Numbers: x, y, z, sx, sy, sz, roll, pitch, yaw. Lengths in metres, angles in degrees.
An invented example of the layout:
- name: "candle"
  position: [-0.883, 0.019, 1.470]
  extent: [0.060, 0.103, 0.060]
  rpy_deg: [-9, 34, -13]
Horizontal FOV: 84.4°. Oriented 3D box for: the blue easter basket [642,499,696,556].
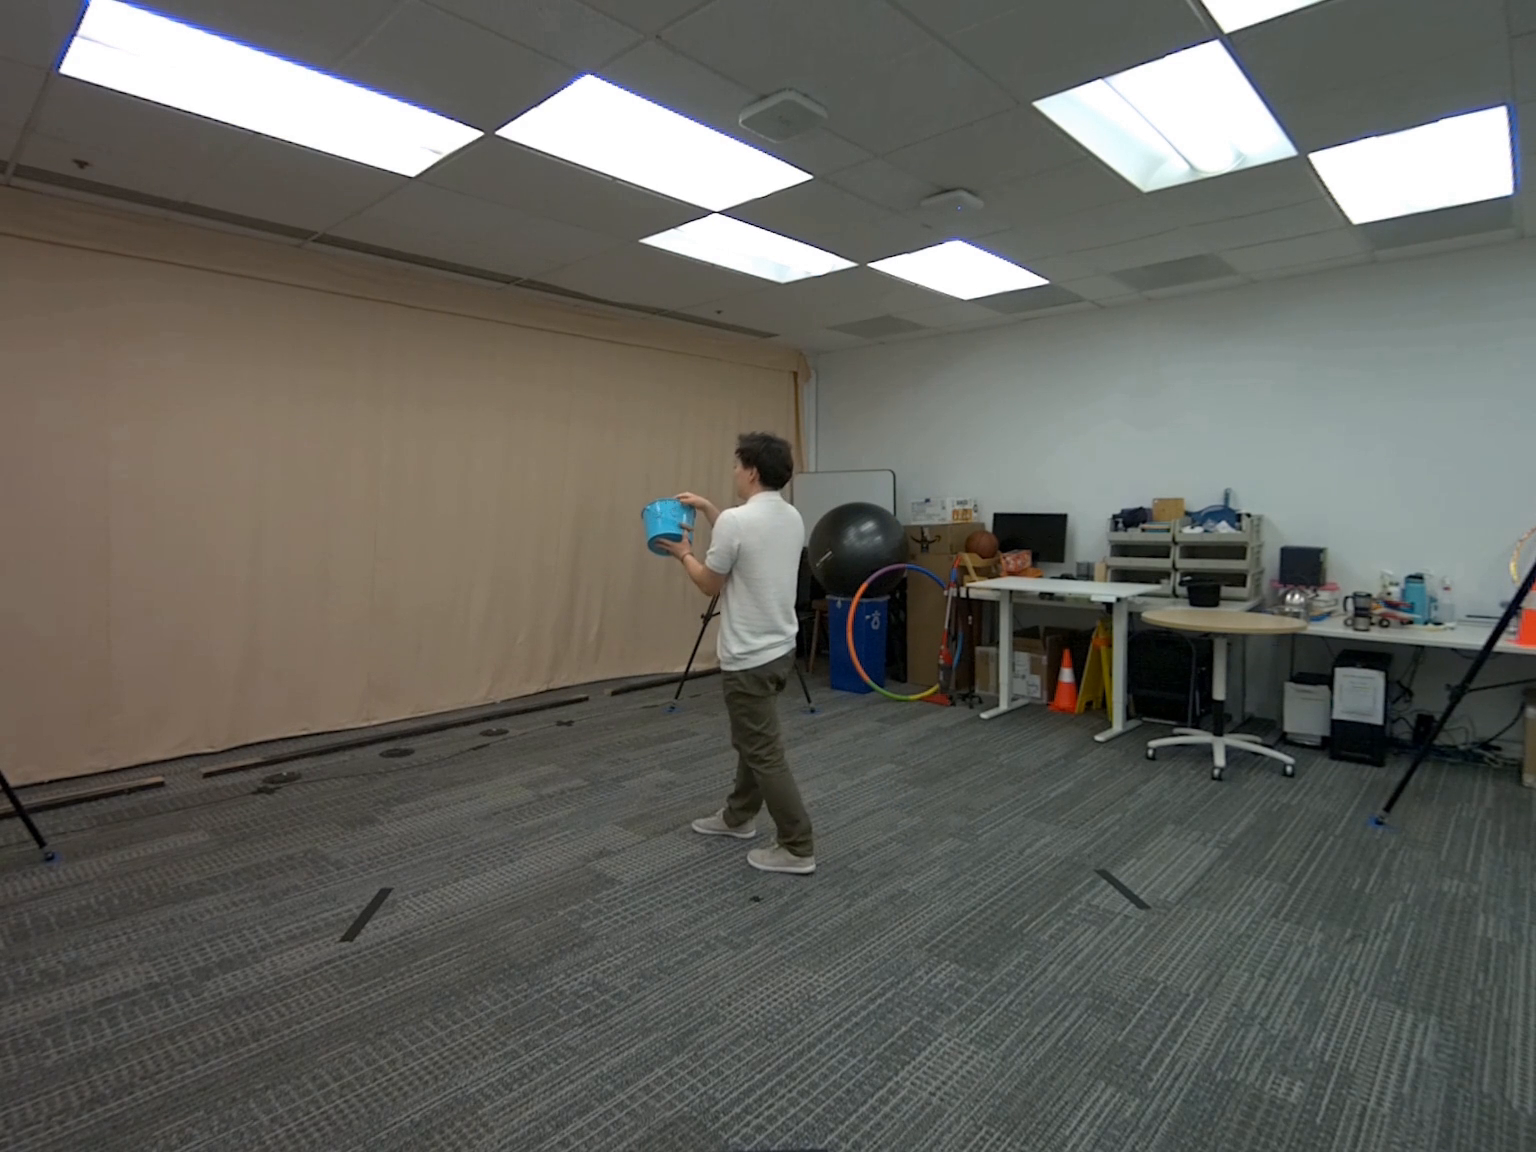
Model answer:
- name: "blue easter basket"
  position: [-0.410, -0.199, 3.521]
  extent: [0.243, 0.159, 0.240]
  rpy_deg: [-4, -31, -4]
